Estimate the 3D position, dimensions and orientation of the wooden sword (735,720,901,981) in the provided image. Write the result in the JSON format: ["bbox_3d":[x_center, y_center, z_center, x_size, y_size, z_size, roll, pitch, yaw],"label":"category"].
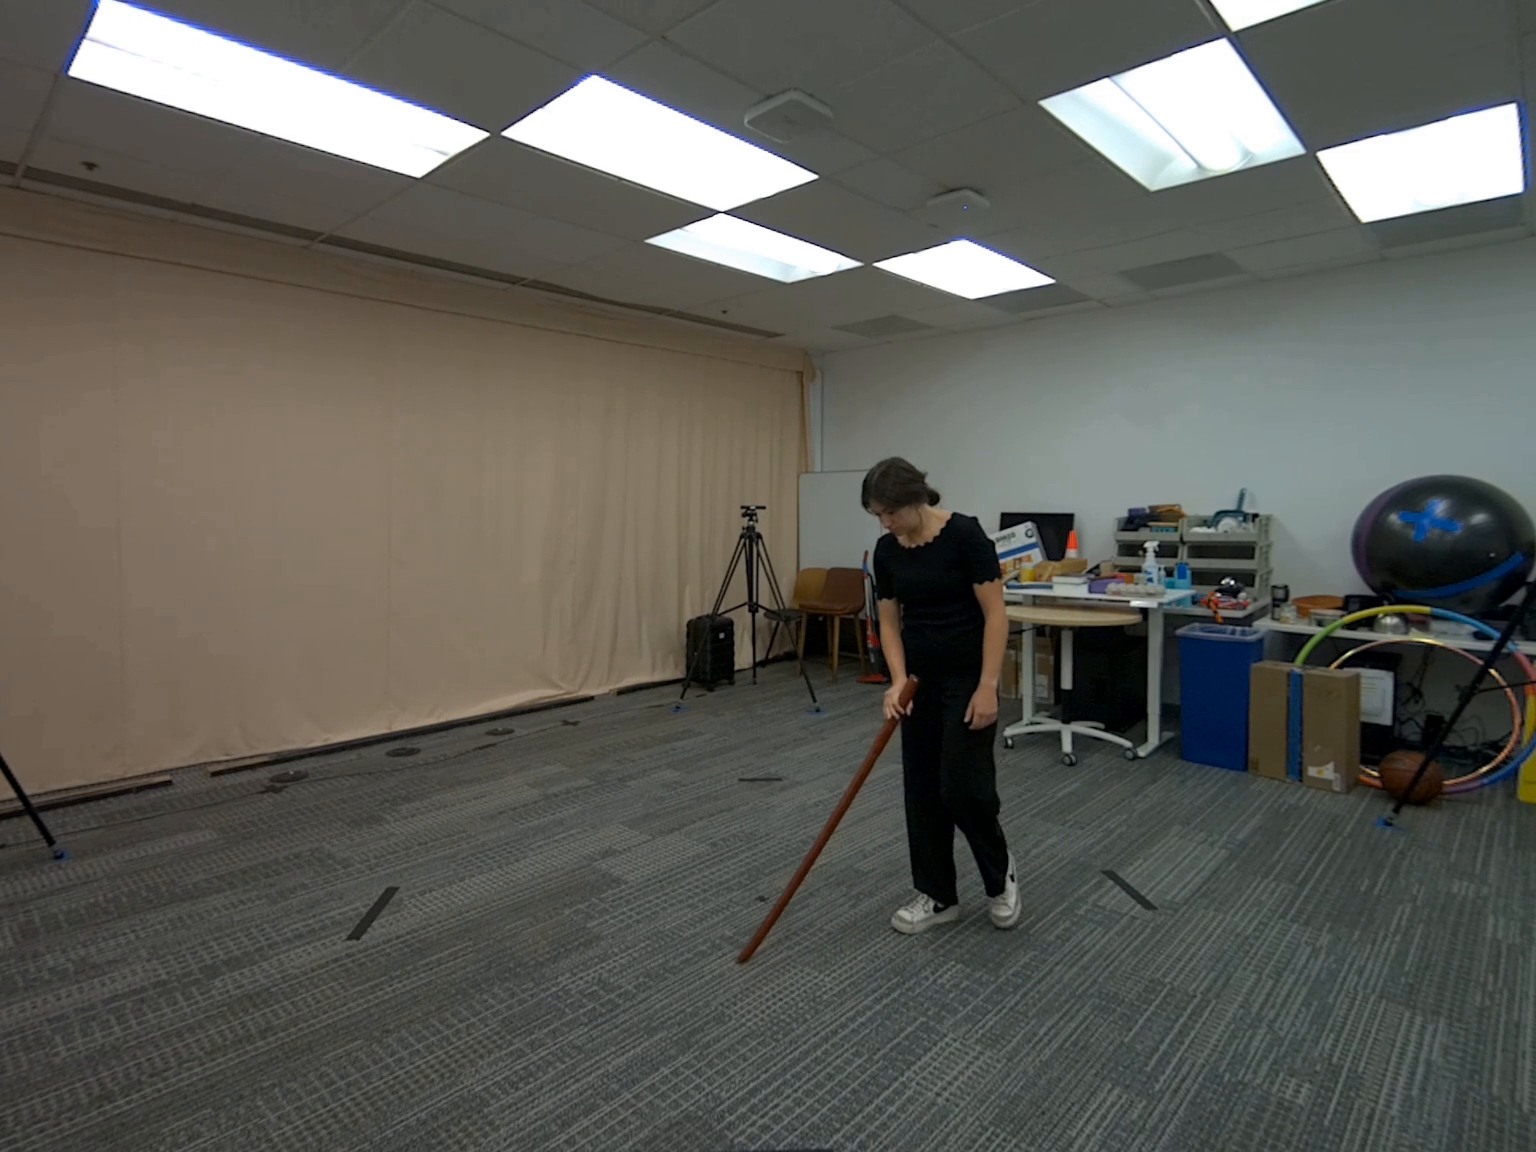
[{"bbox_3d":[0.194,0.770,2.592,0.024,1.024,0.052,34,-5,-8],"label":"wooden sword"}]
